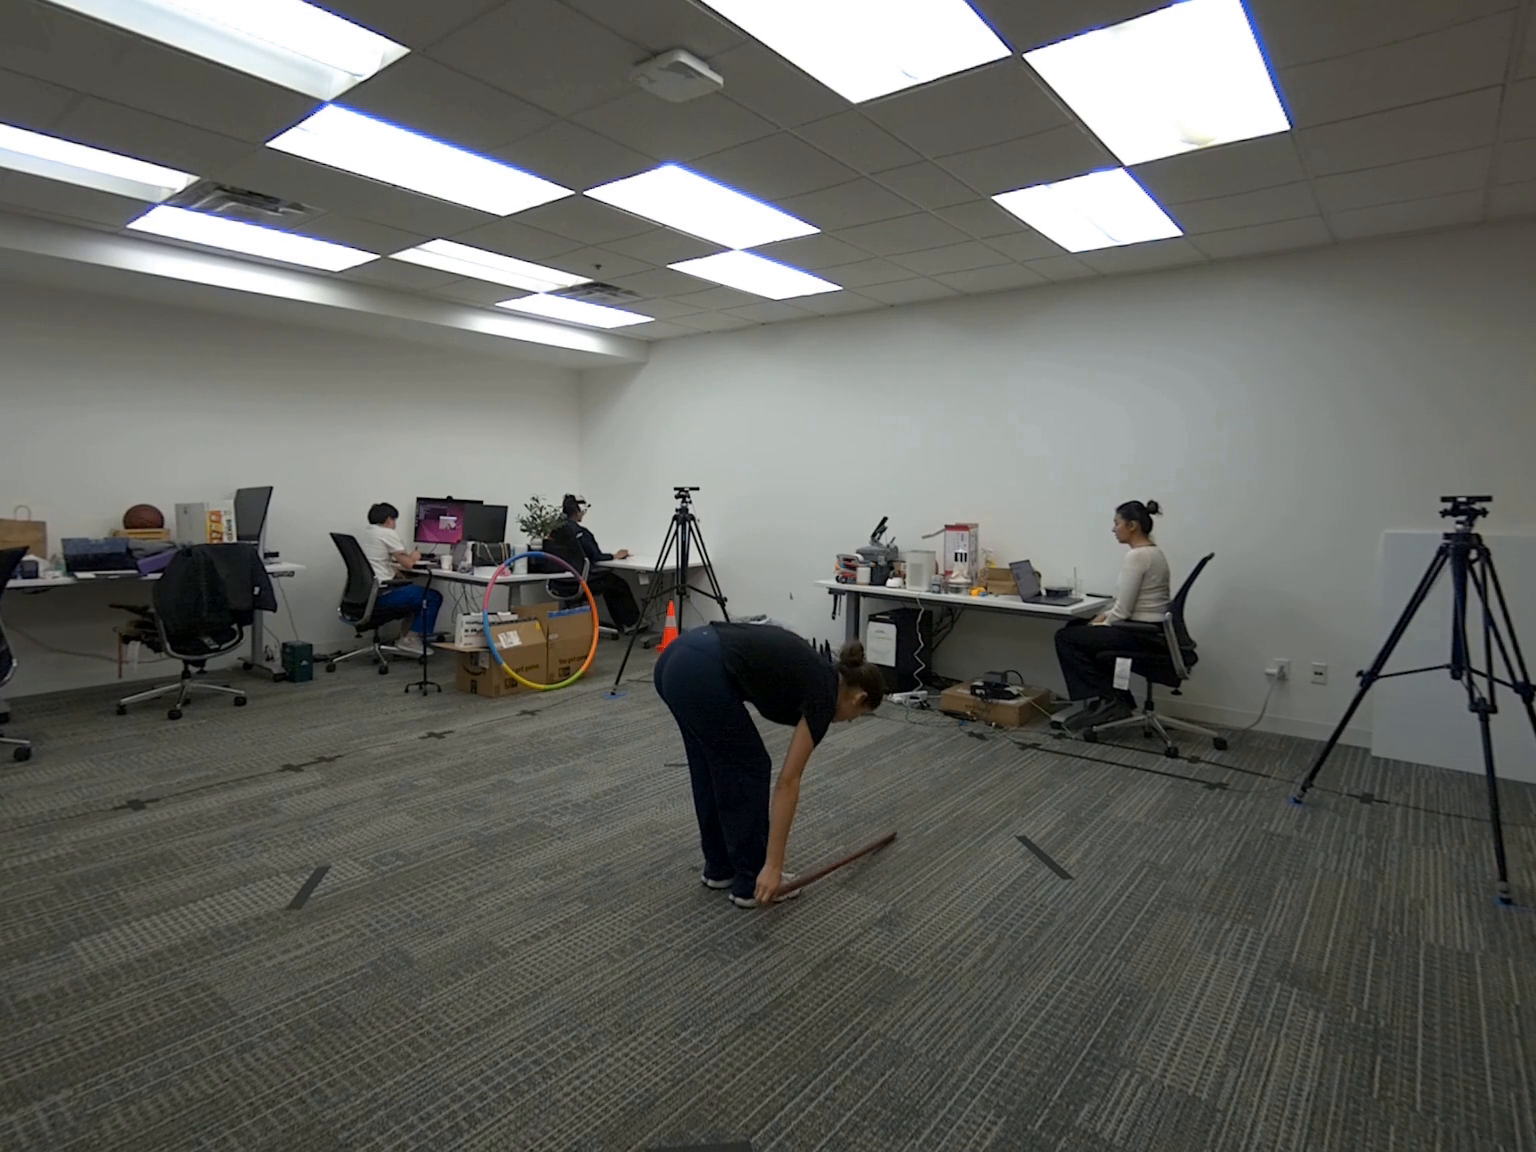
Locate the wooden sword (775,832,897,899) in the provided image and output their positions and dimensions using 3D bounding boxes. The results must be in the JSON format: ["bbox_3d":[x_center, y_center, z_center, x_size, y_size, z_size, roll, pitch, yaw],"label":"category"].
[{"bbox_3d":[0.248,1.012,3.018,0.025,0.051,0.991,26,11,32],"label":"wooden sword"}]
